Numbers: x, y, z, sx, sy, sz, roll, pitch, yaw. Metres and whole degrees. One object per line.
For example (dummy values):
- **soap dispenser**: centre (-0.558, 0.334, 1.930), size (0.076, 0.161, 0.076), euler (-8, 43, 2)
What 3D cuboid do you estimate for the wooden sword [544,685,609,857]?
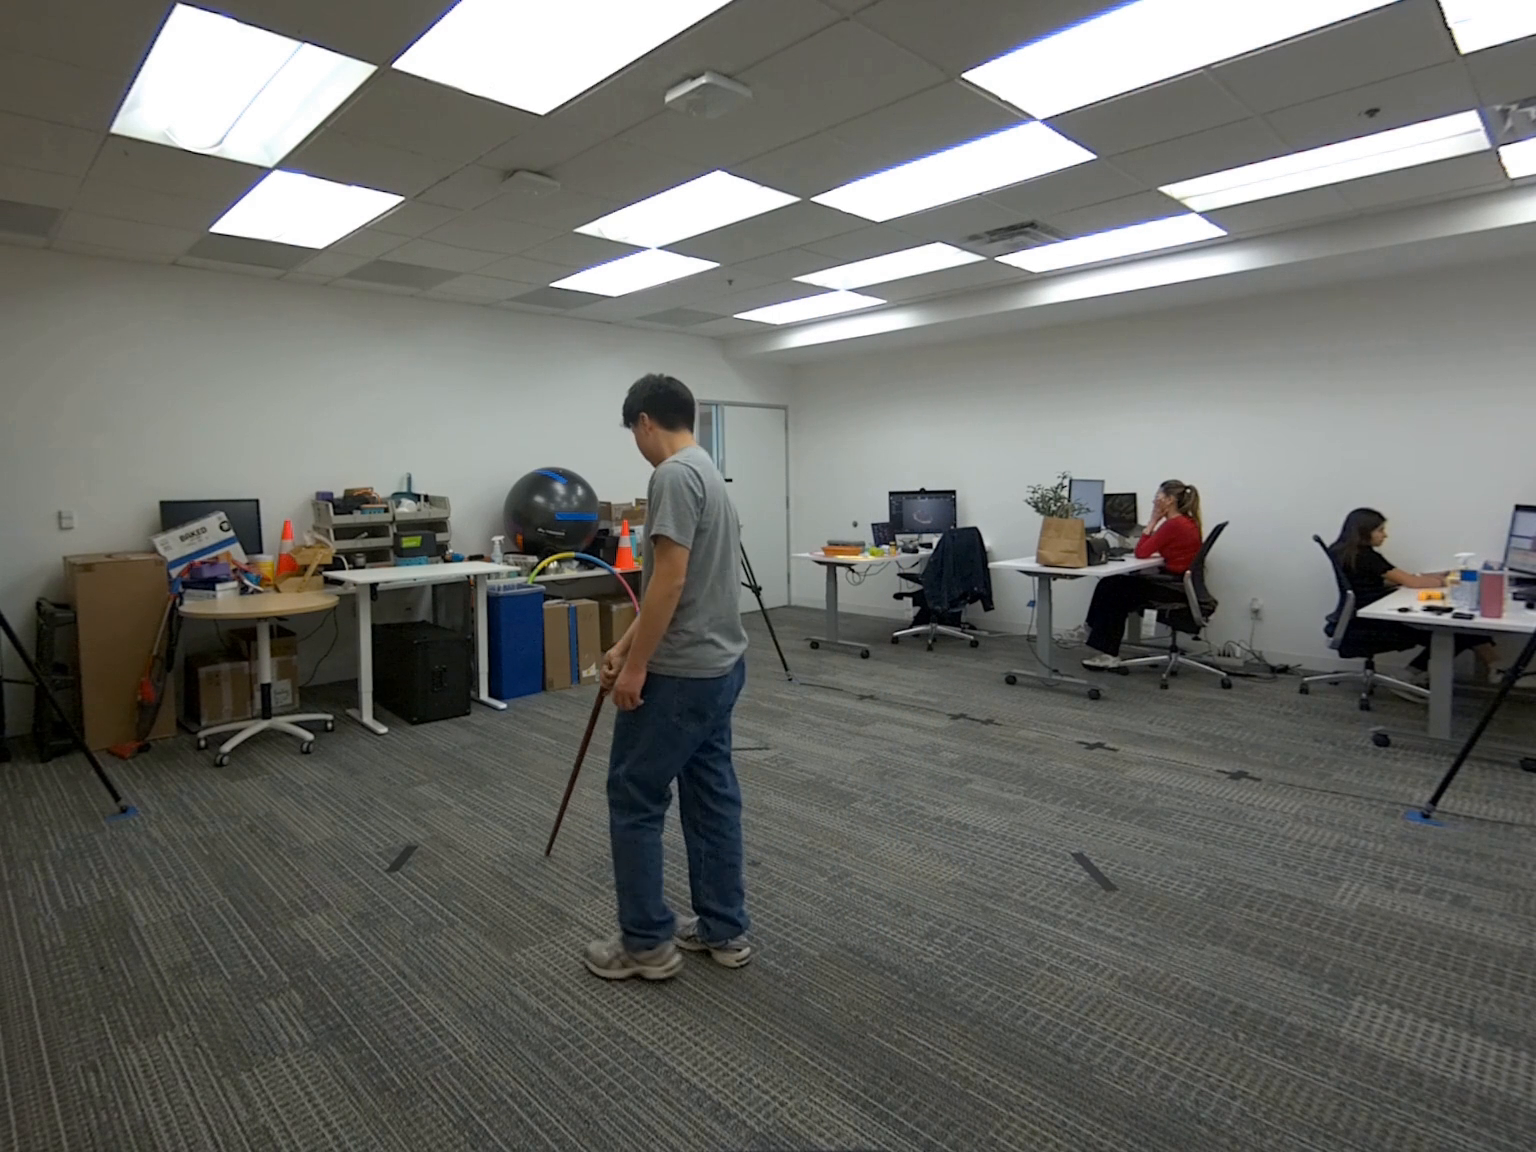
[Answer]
- **wooden sword**: centre (-0.666, 0.681, 2.935), size (0.050, 1.011, 0.025), euler (12, 37, -17)
